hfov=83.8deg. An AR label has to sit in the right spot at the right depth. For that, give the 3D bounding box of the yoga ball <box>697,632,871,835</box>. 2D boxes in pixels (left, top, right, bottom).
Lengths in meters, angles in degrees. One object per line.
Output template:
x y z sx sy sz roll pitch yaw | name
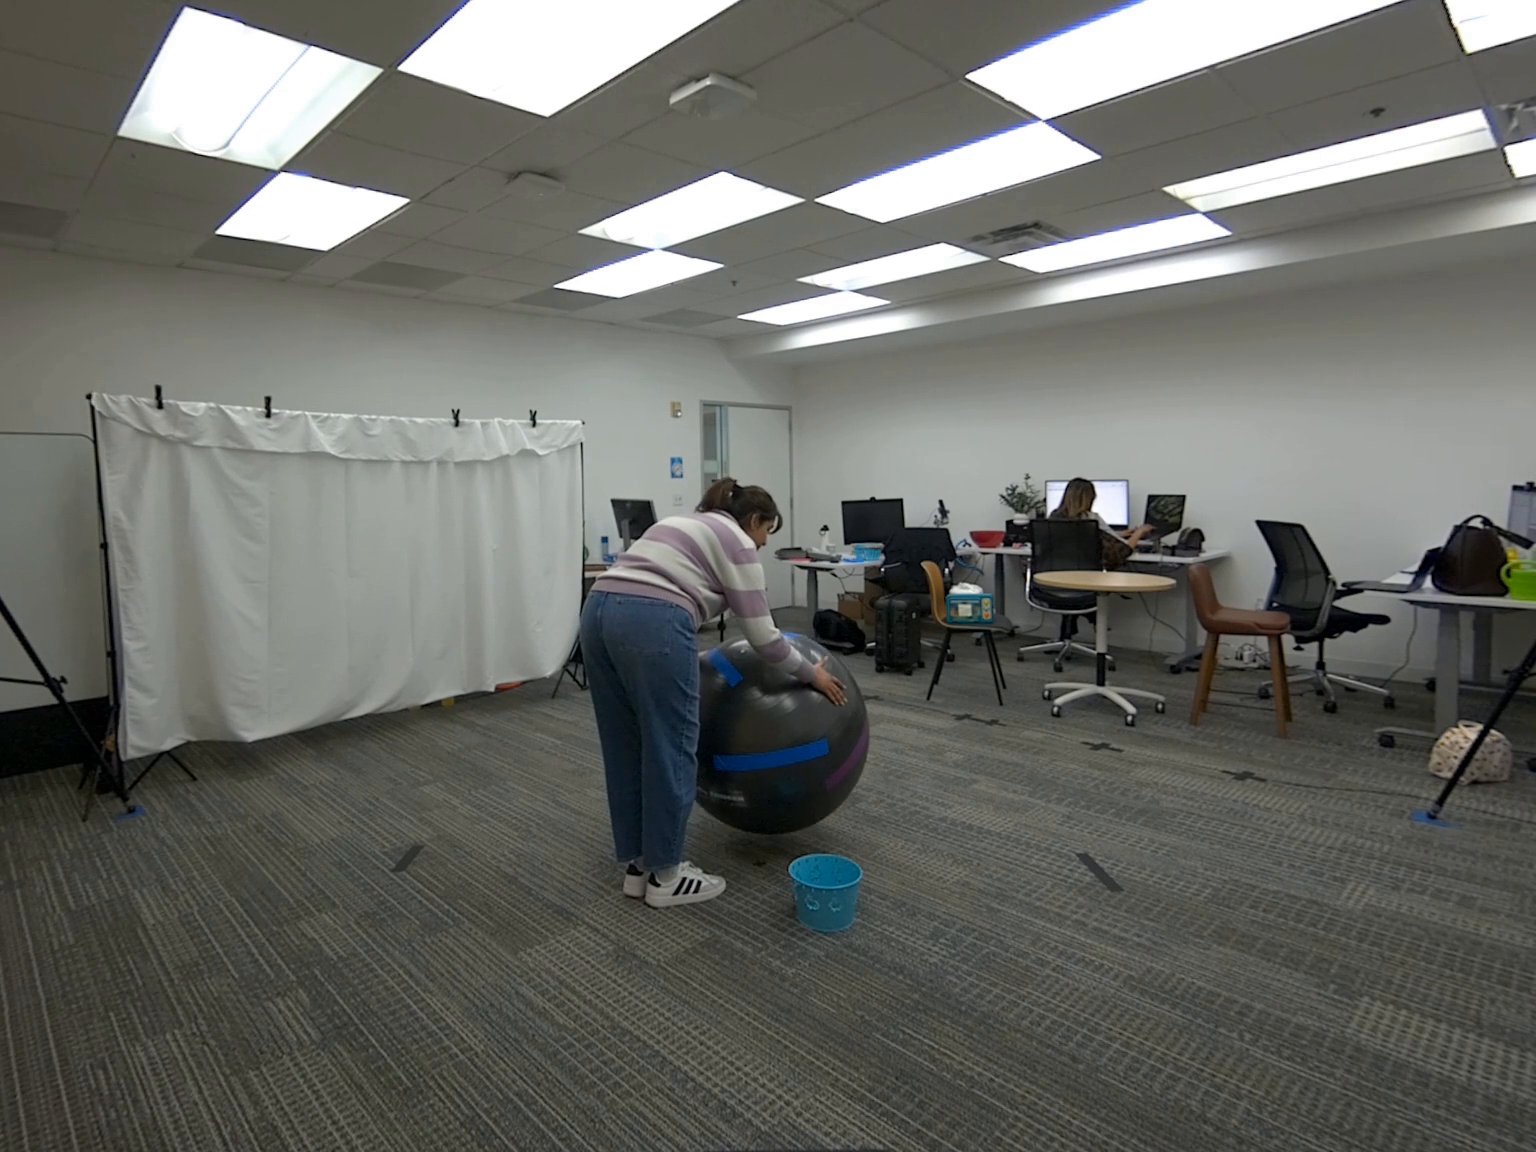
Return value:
0.007 0.597 3.268 0.757 0.755 0.762 -1 5 -2 | yoga ball
